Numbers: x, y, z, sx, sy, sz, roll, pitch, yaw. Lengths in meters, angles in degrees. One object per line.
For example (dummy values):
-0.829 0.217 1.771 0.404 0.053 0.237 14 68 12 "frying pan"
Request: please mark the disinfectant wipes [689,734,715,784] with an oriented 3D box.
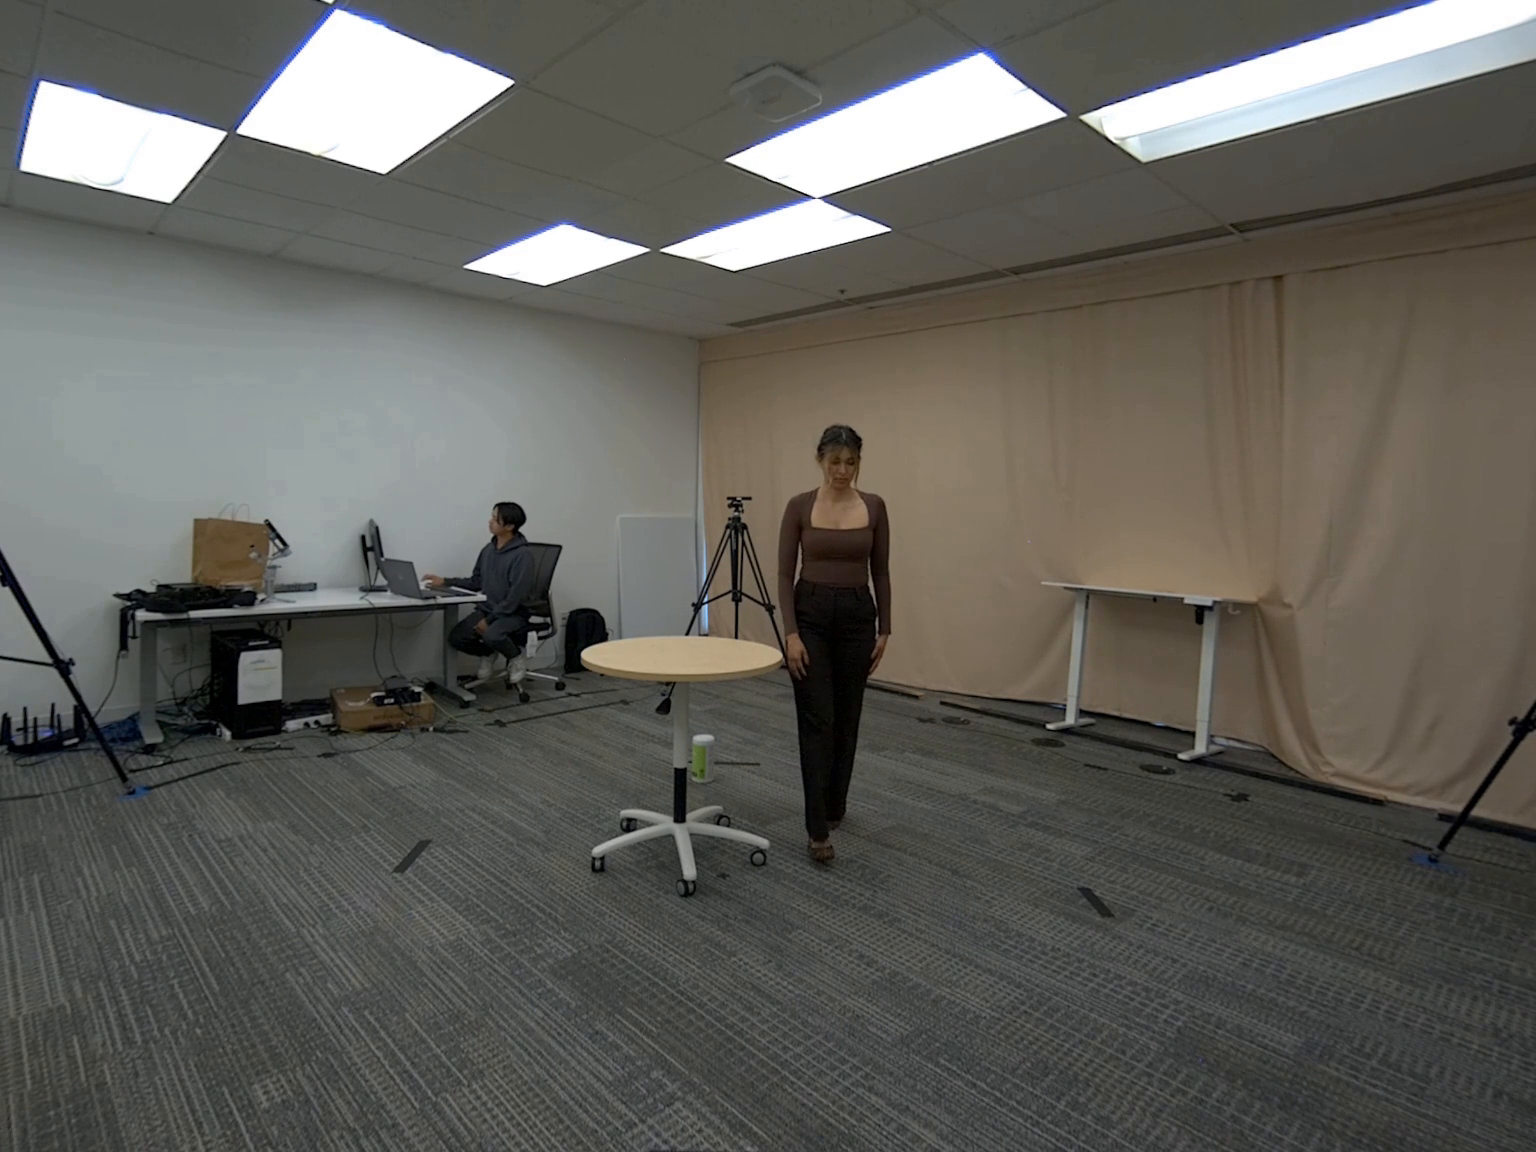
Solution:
-0.328 0.895 4.162 0.118 0.217 0.118 0 3 -1 "disinfectant wipes"
